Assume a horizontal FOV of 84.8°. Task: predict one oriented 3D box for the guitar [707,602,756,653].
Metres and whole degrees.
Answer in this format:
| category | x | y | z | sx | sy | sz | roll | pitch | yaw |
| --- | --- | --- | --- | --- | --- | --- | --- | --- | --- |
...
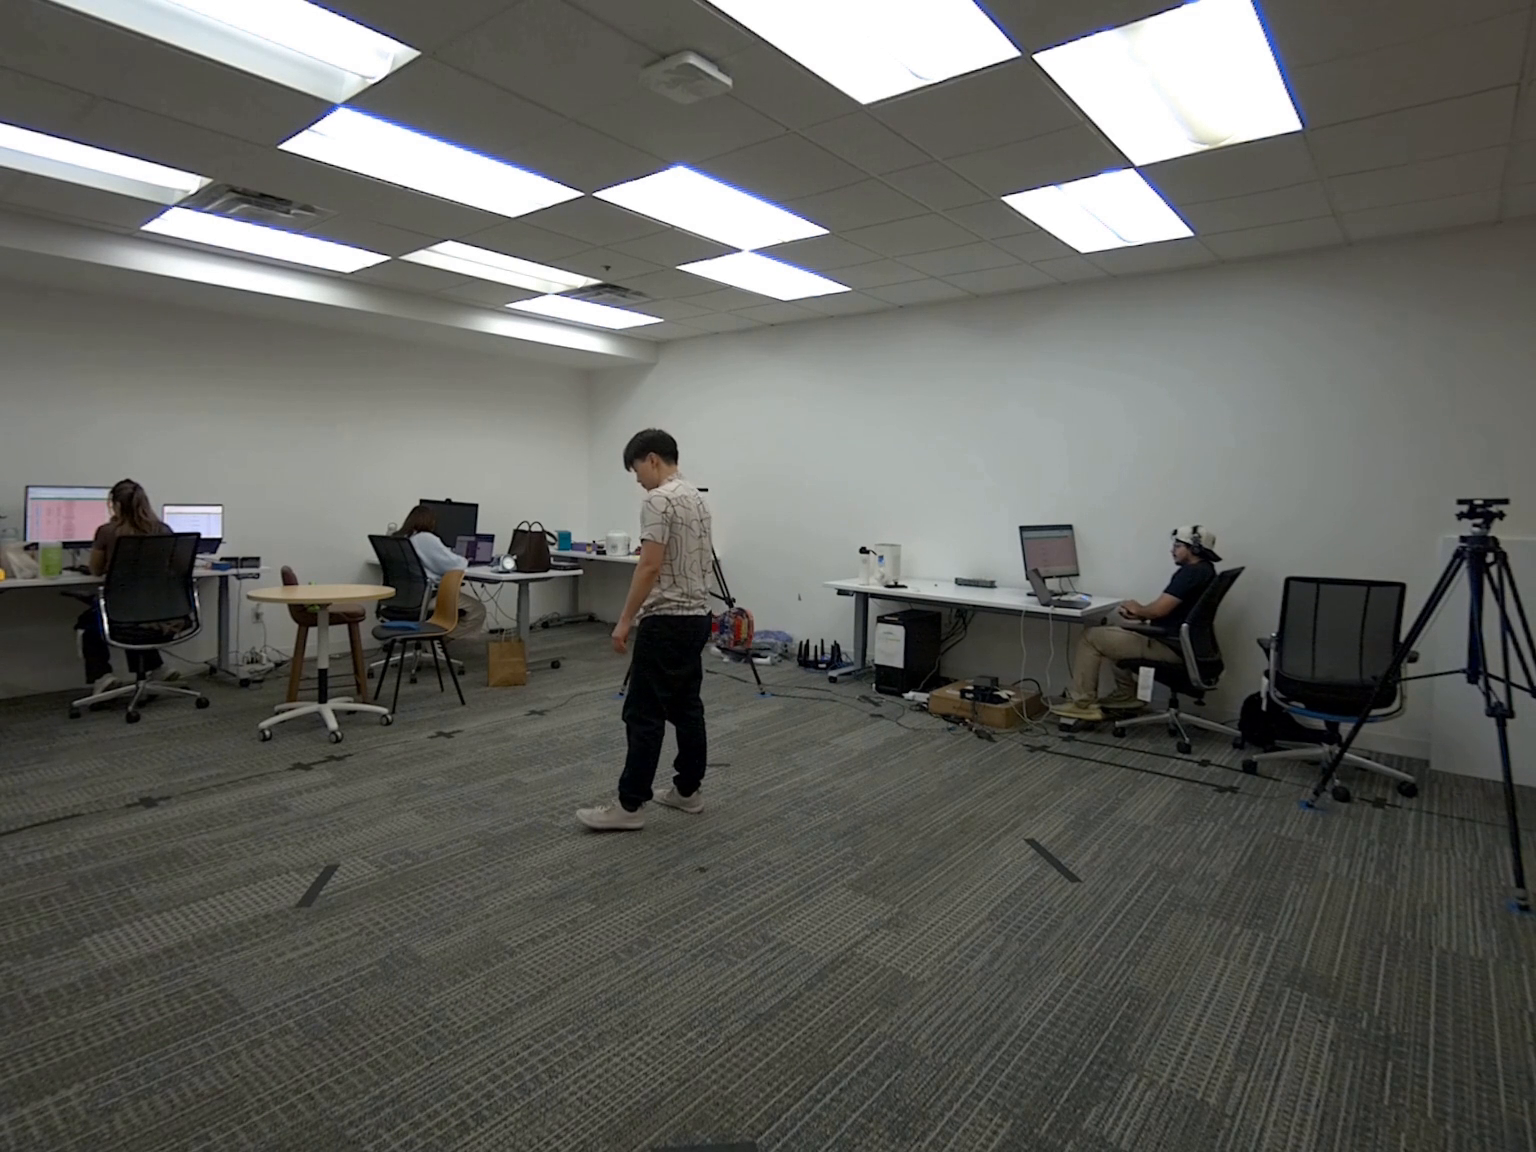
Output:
| category | x | y | z | sx | sy | sz | roll | pitch | yaw |
| --- | --- | --- | --- | --- | --- | --- | --- | --- | --- |
| guitar | -0.320 | 0.211 | 3.954 | 0.510 | 0.193 | 0.069 | 10 | -1 | 21 |
